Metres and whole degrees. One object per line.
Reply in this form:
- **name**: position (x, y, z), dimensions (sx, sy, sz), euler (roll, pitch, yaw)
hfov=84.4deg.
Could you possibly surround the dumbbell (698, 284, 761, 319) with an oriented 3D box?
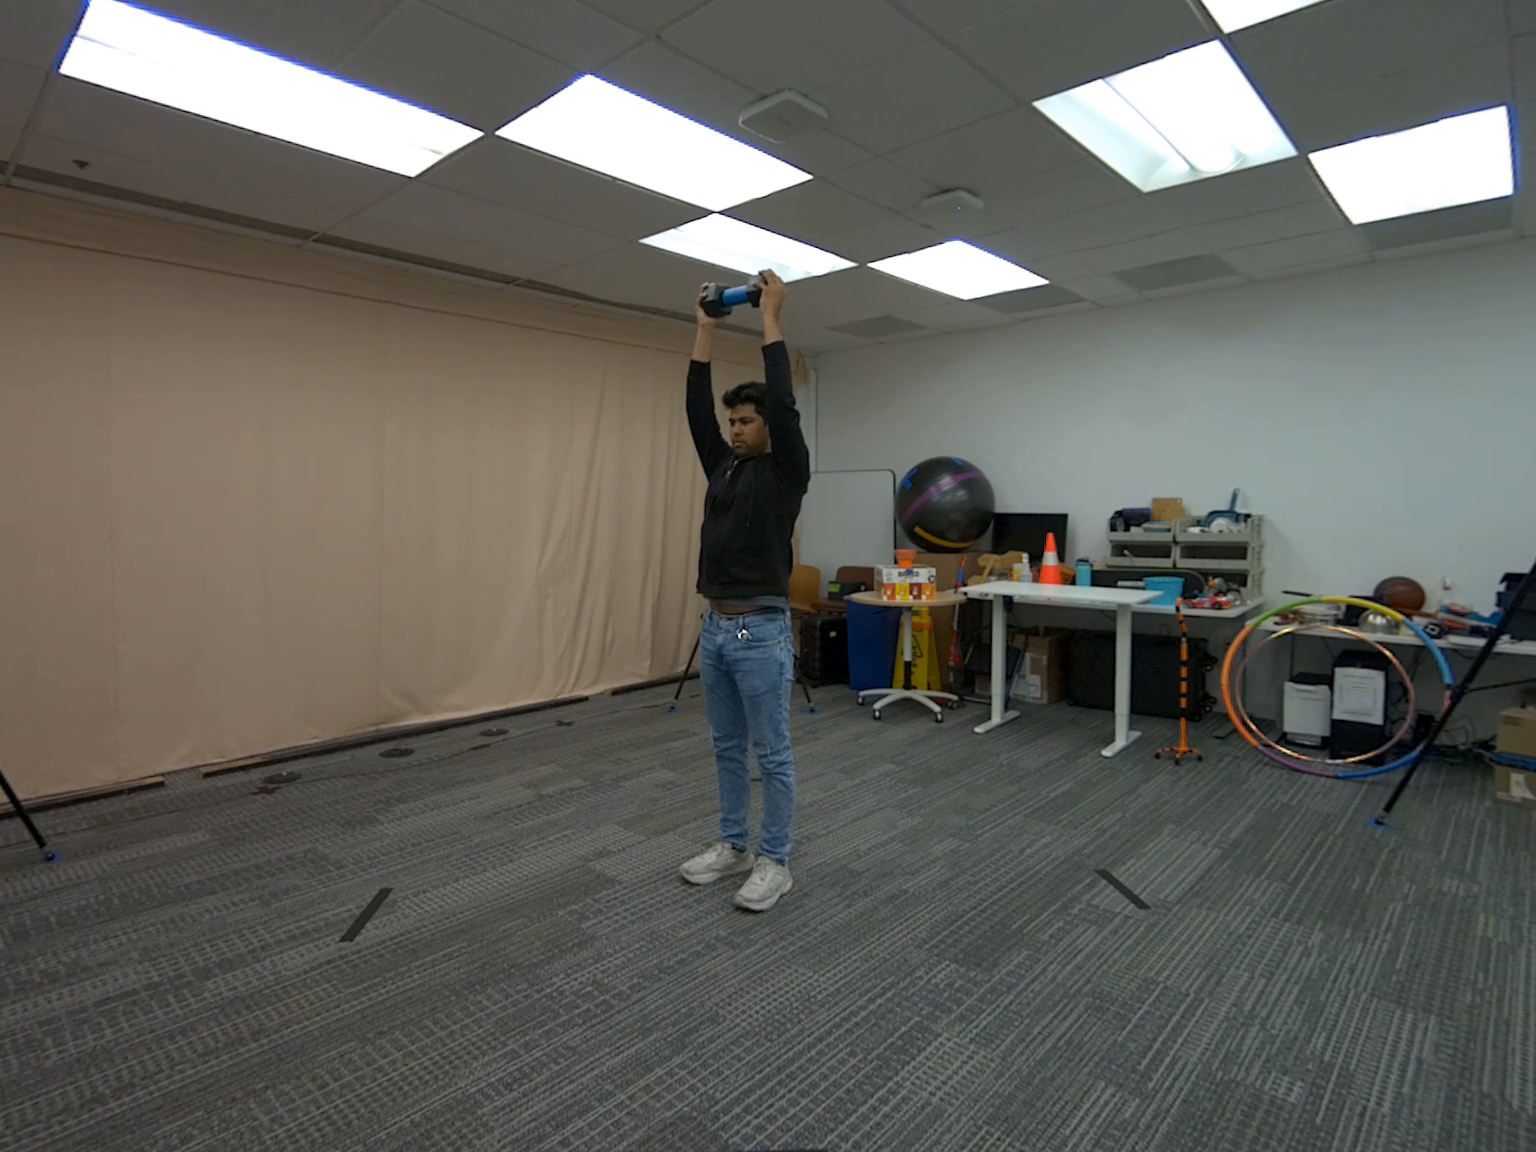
- **dumbbell**: position (-0.095, -0.979, 2.953), dimensions (0.303, 0.108, 0.120), euler (5, 16, 41)
